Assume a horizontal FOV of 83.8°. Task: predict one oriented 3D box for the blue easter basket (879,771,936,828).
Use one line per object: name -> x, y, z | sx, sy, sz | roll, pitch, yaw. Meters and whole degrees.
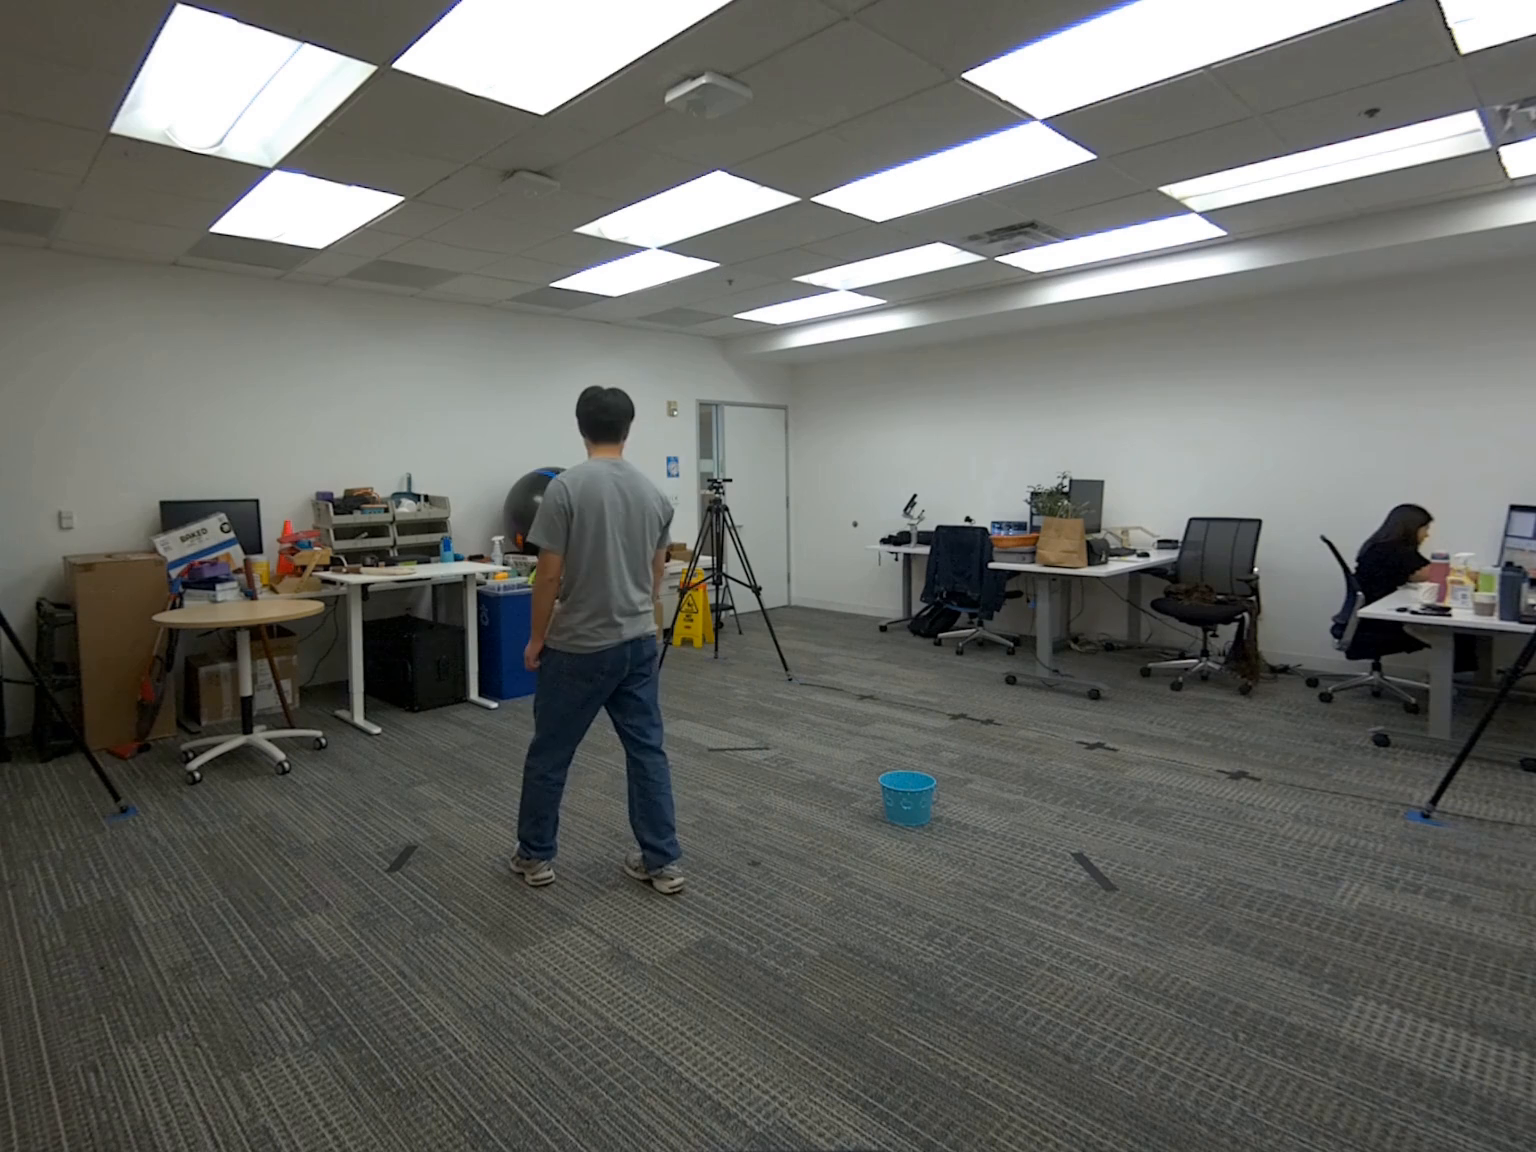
blue easter basket -> 0.580, 0.910, 3.509 | 0.243, 0.155, 0.245 | -2, 5, -2
